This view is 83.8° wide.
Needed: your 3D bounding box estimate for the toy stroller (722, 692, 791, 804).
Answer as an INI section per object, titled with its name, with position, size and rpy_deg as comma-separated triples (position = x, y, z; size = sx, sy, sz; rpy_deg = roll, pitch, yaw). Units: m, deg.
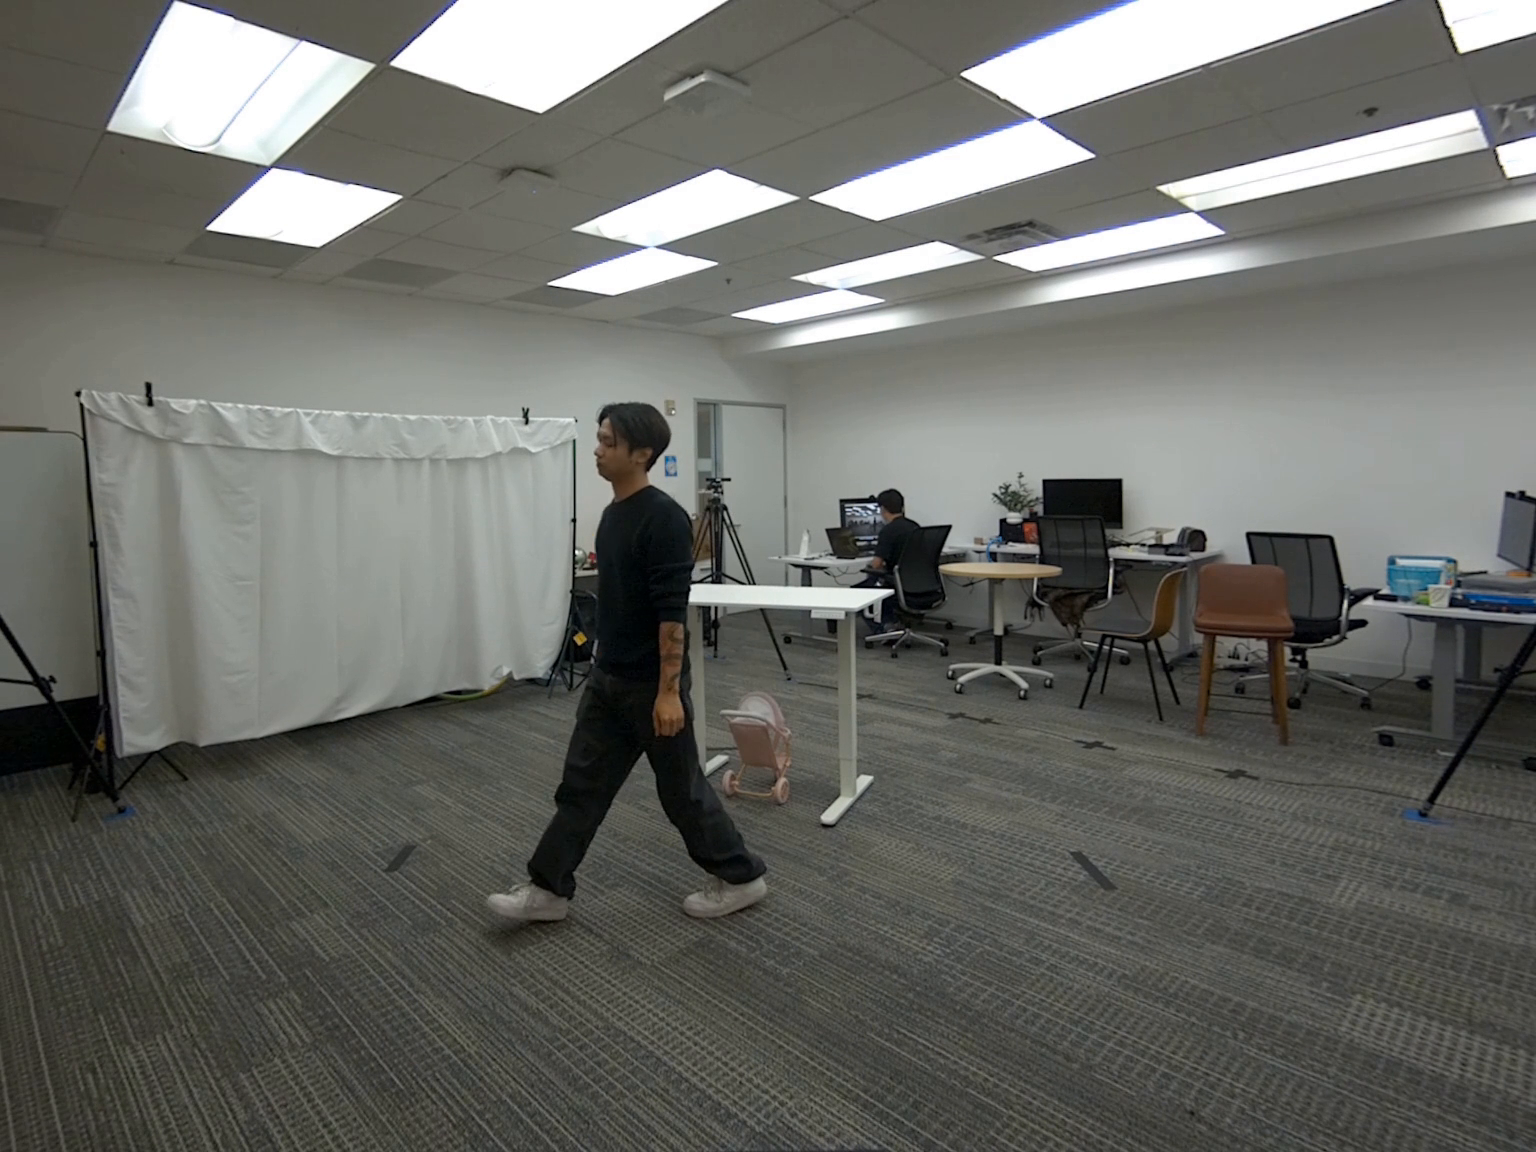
[toy stroller]
position = -0.030, 0.745, 3.770
size = 0.288, 0.525, 0.339
rpy_deg = 2, 21, 28
